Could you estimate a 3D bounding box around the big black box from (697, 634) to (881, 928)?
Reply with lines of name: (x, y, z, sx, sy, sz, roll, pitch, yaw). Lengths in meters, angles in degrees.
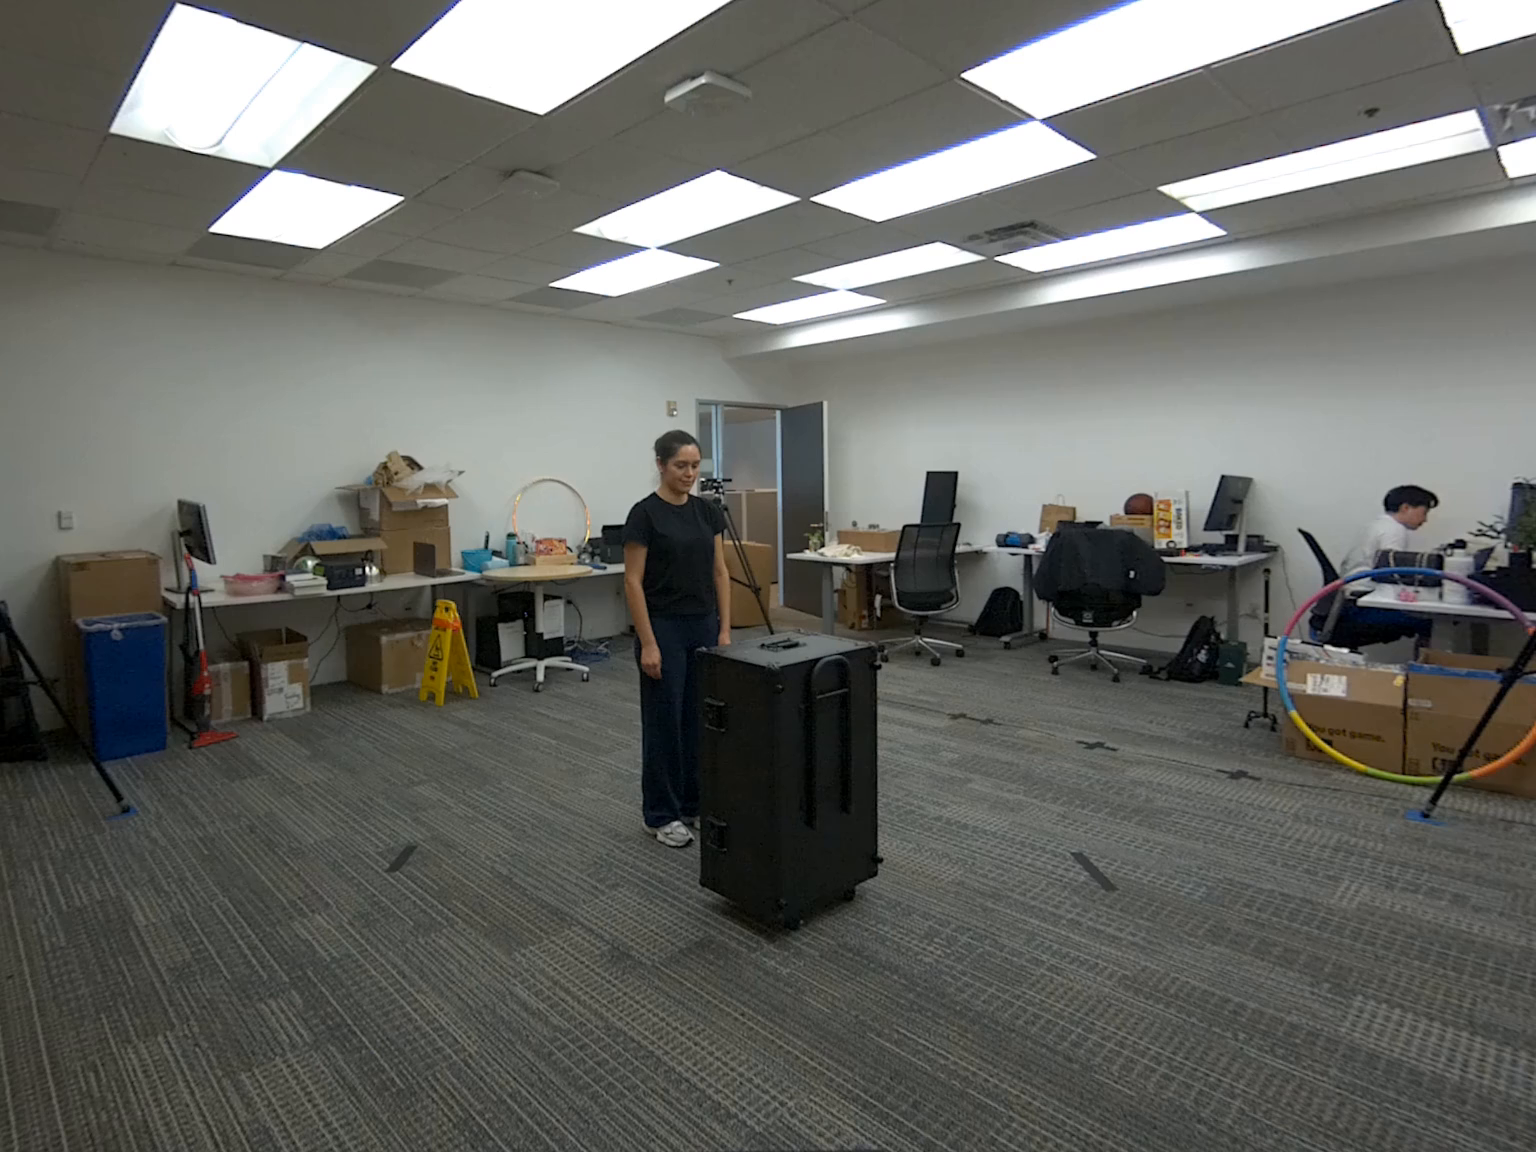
big black box: (0.073, 0.652, 2.810, 0.507, 0.858, 0.409, -4, 7, -44)
